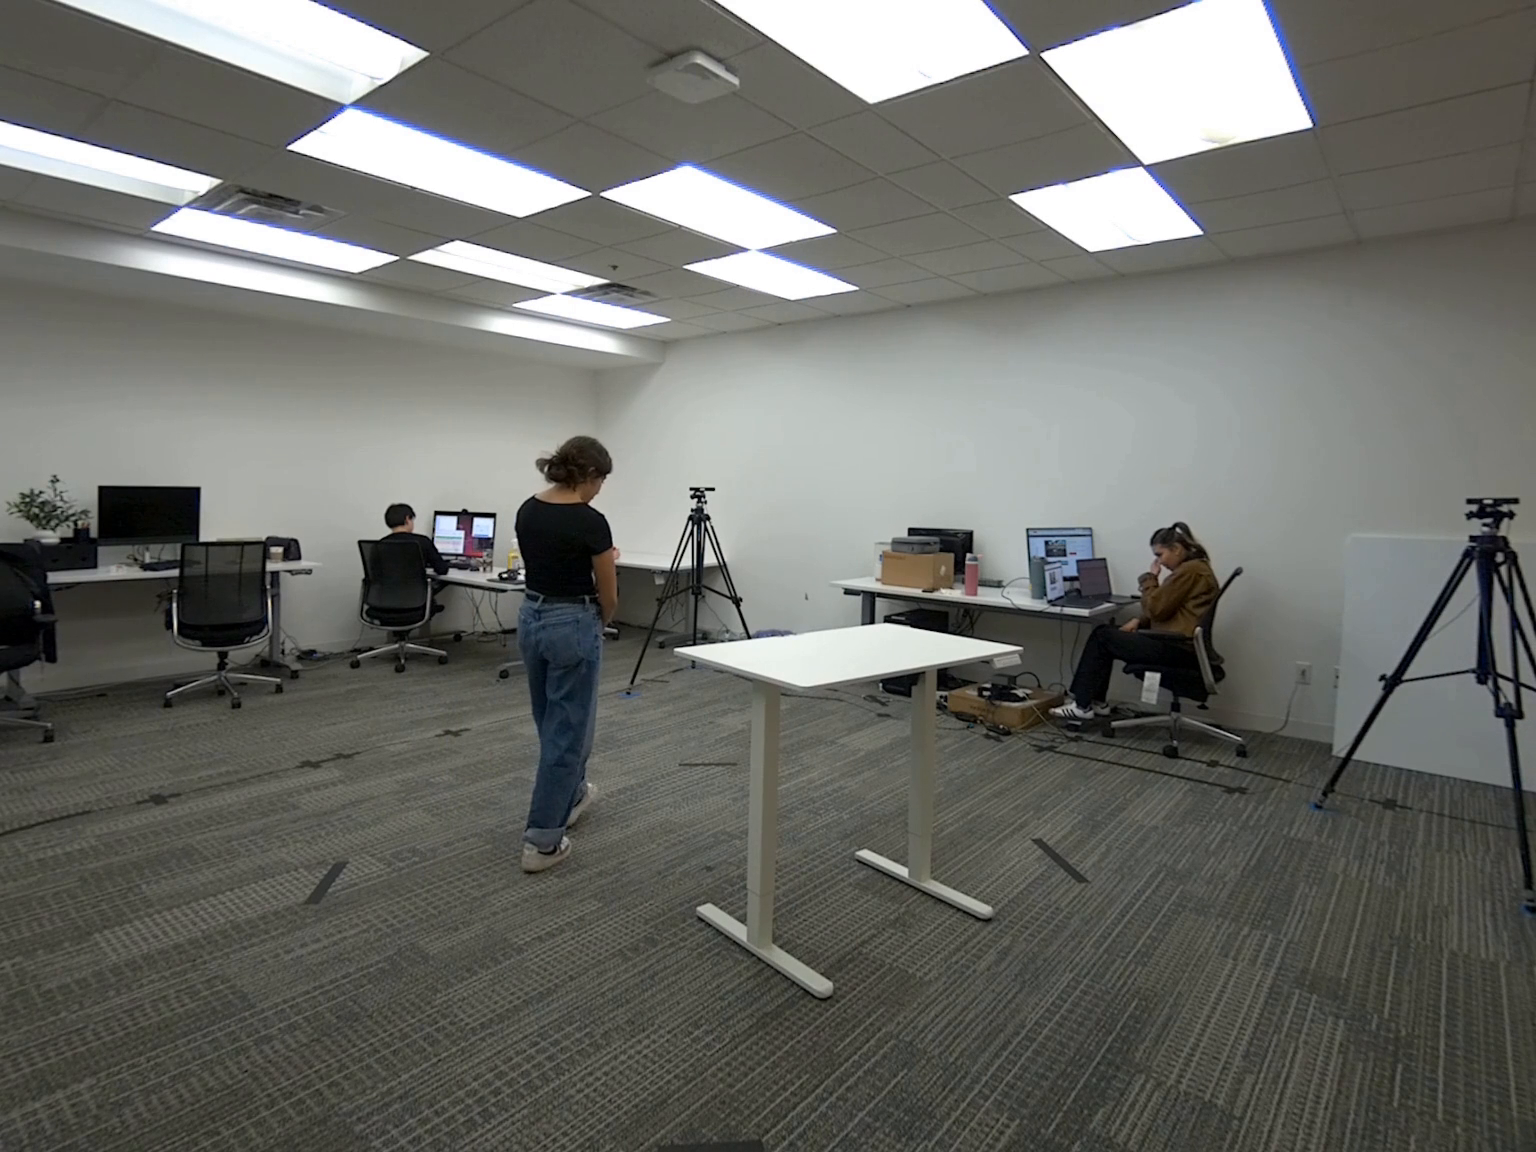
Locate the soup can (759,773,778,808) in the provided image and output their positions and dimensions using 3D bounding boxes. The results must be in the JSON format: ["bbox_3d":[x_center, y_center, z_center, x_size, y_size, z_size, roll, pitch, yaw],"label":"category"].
[{"bbox_3d":[0.000,0.944,3.714,0.067,0.121,0.067,4,2,-2],"label":"soup can"}]
